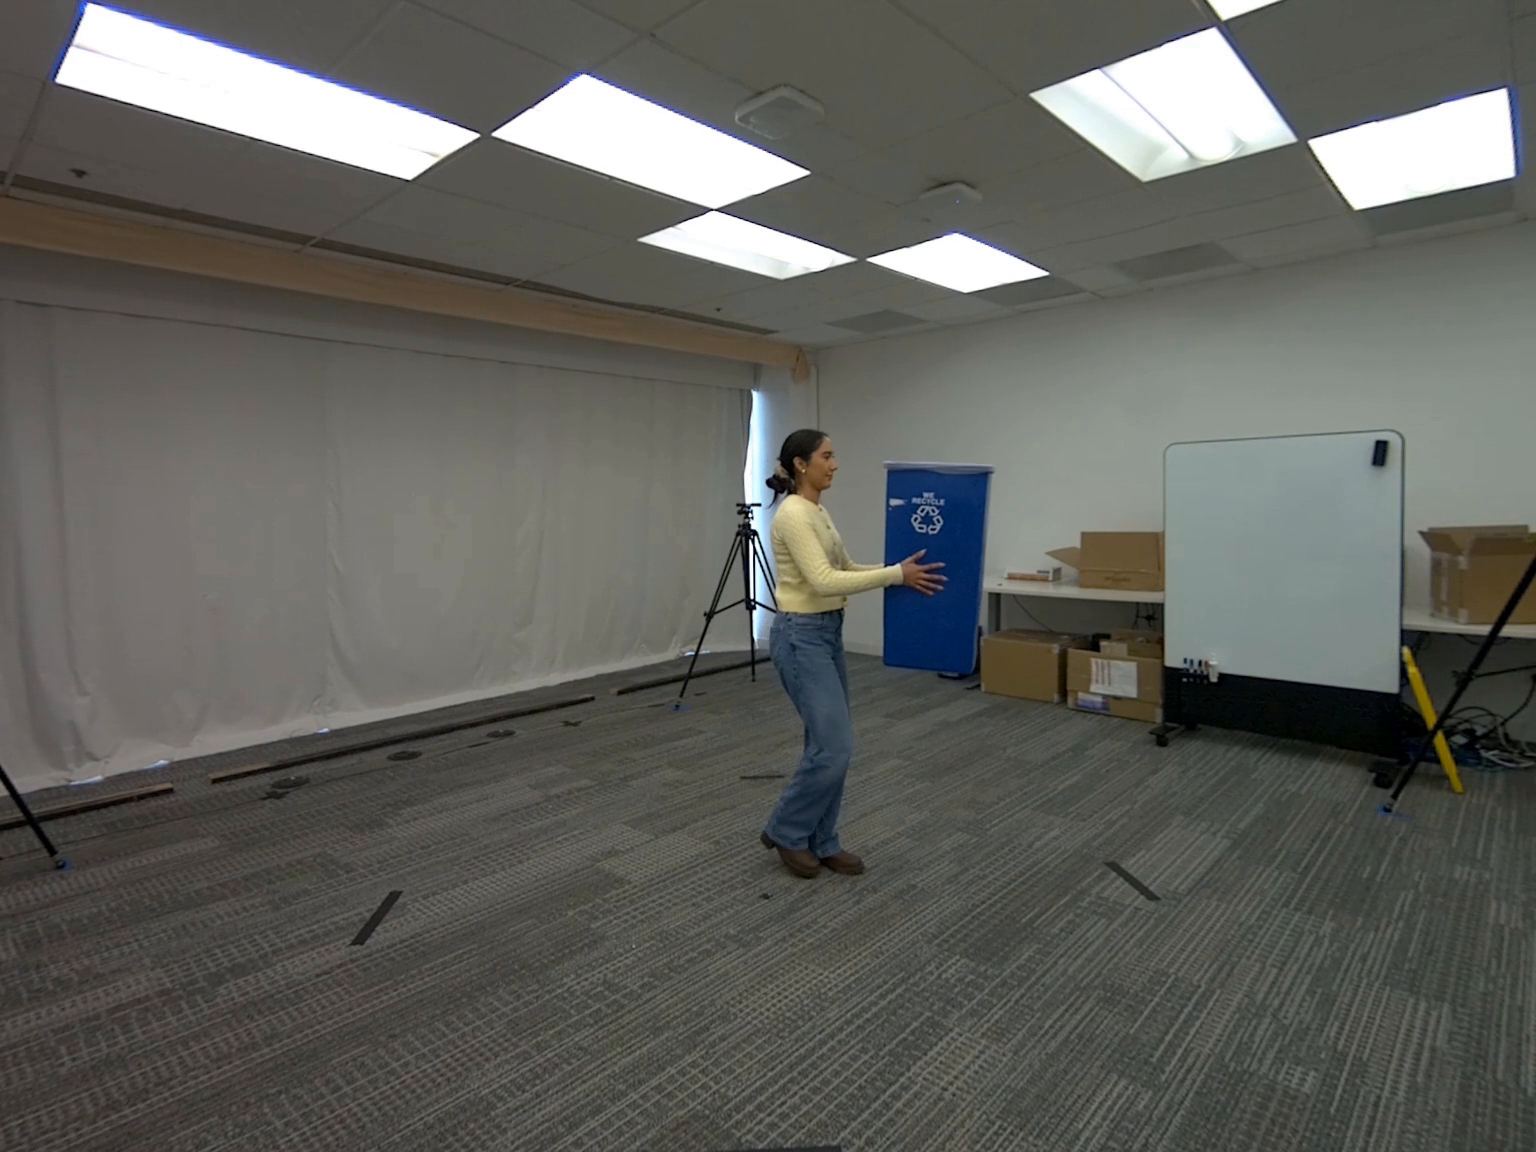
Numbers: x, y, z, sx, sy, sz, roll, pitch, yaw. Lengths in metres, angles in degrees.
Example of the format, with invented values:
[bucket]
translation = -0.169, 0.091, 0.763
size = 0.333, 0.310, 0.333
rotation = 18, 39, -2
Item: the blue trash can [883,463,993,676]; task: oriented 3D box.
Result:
[blue trash can]
translation = 0.612, -0.047, 3.006
size = 0.382, 0.711, 0.372
rotation = 3, 6, 18
